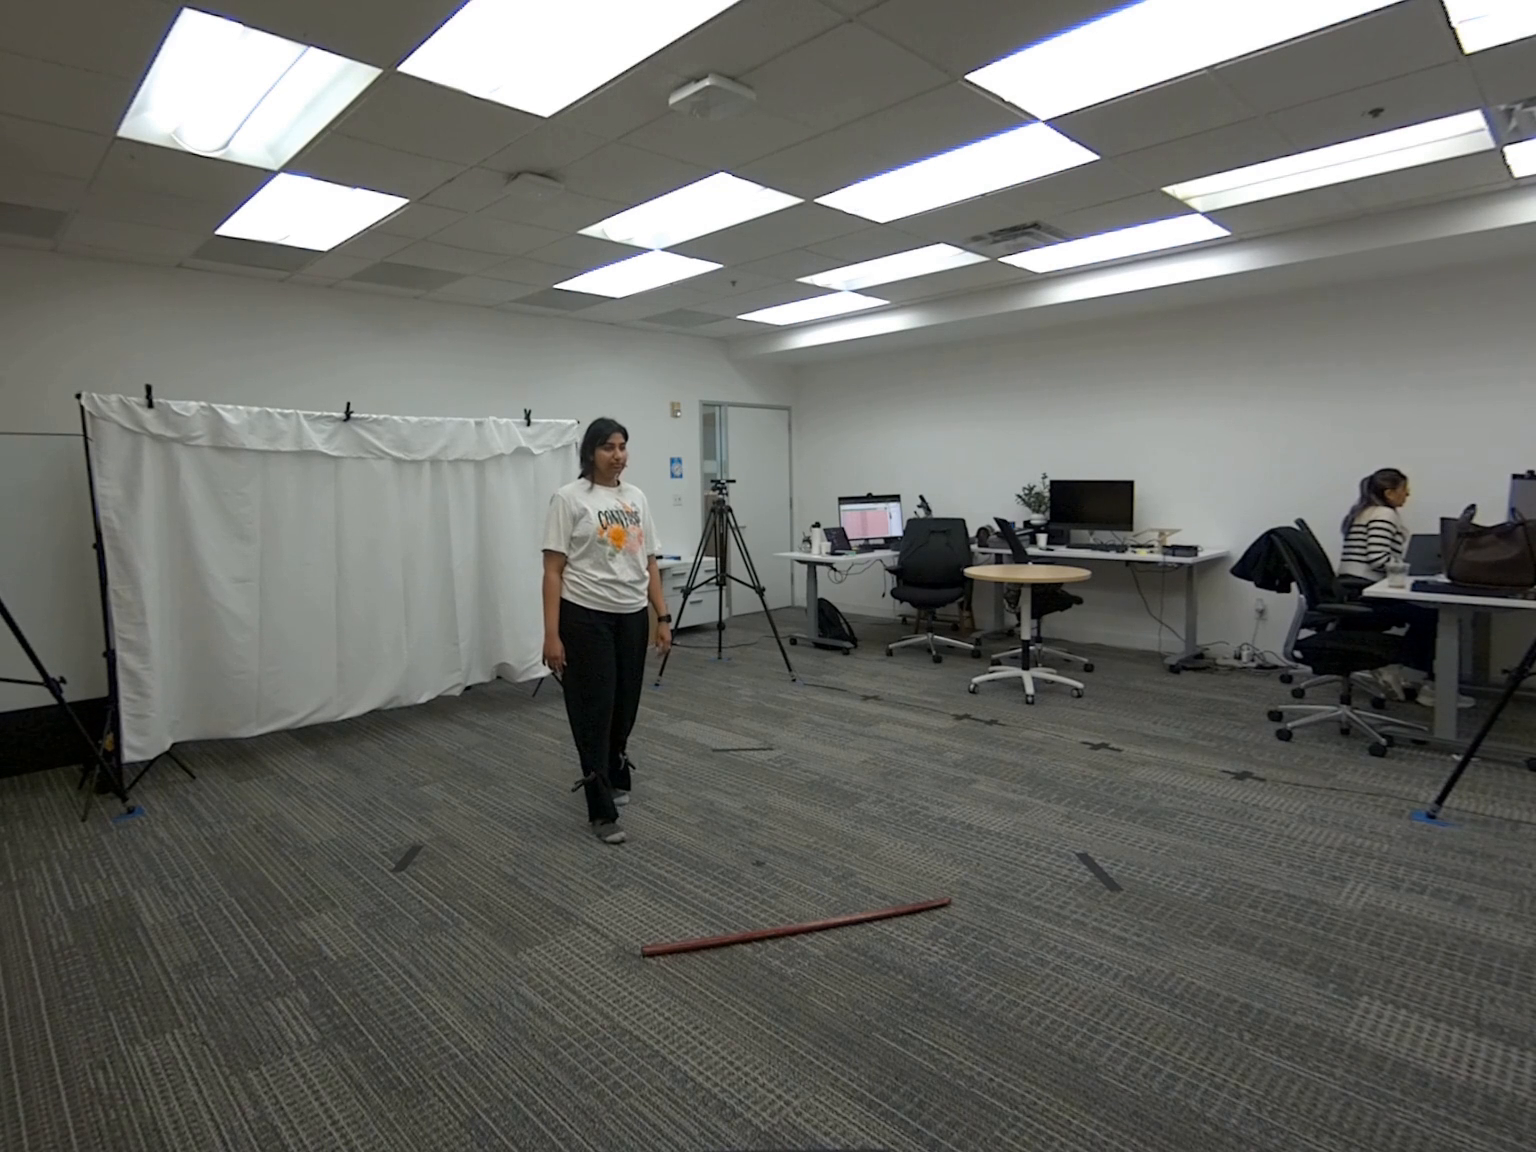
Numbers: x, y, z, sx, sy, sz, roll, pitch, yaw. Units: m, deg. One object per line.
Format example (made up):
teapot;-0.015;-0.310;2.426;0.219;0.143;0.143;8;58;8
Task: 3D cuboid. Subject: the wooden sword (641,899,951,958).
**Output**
wooden sword;0.116;1.077;2.654;1.011;0.024;0.052;-3;1;-15
